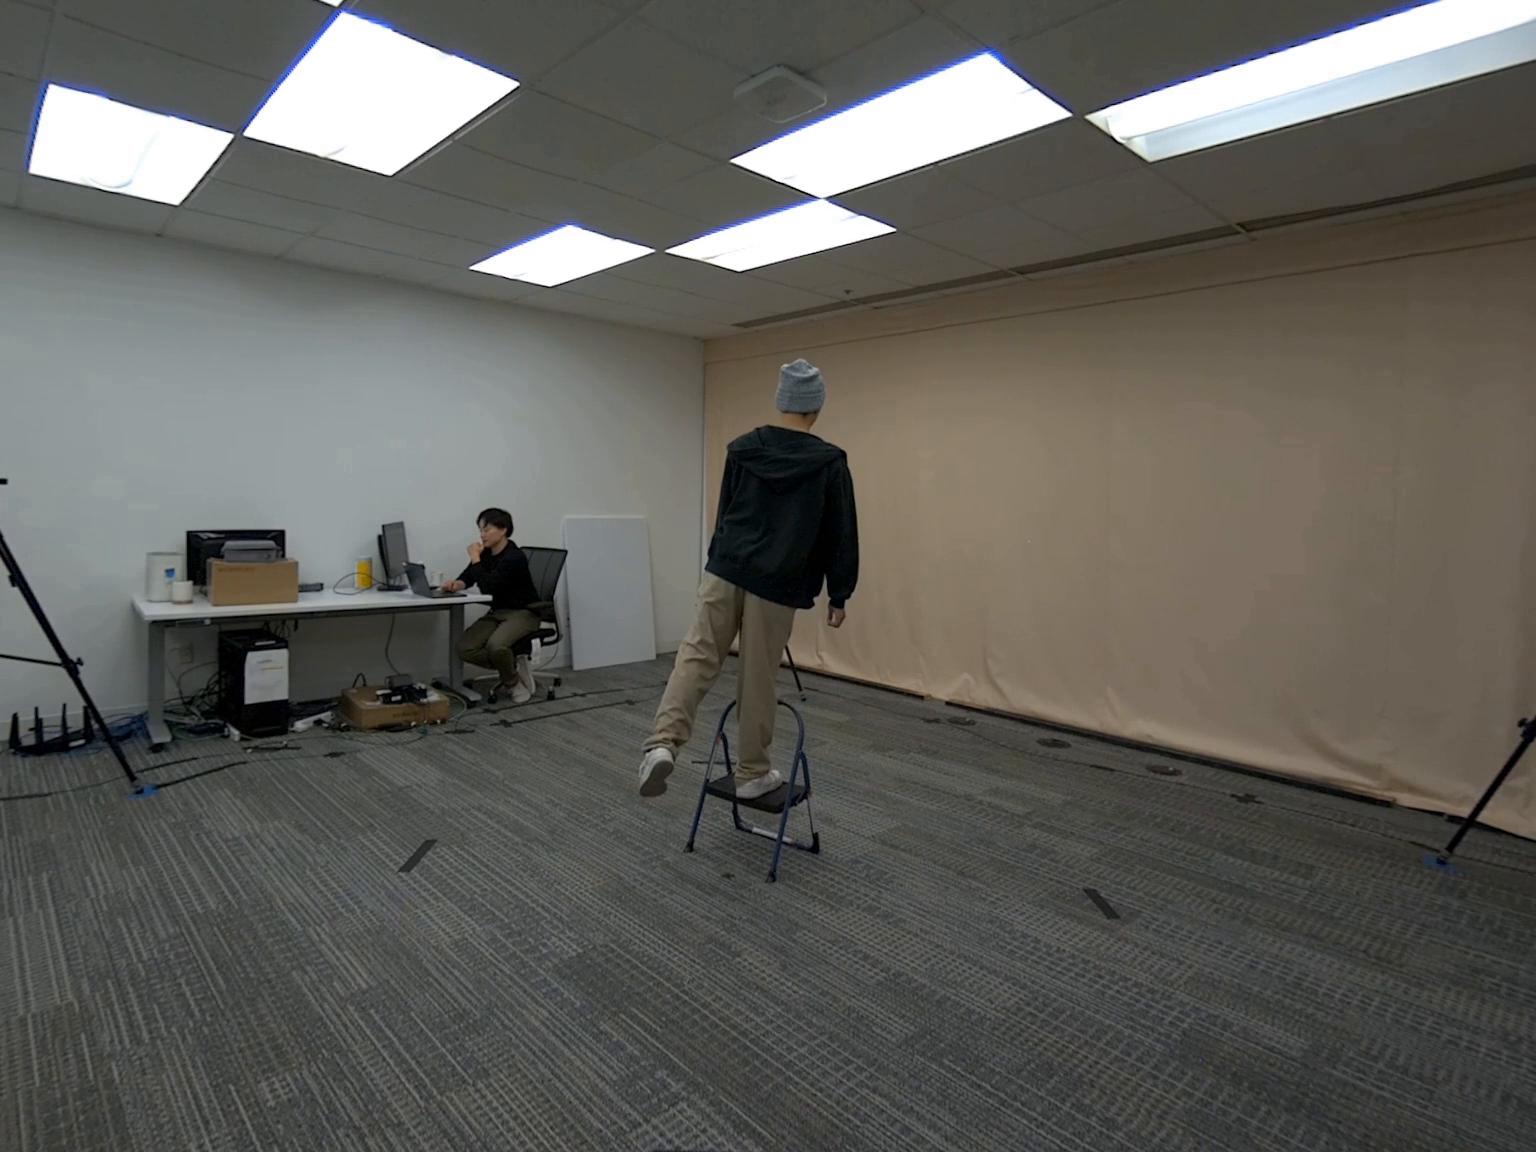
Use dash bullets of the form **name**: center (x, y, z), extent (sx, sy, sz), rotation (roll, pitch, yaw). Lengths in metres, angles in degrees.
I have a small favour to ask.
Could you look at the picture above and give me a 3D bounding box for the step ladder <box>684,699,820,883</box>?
- **step ladder**: center (-0.056, 0.790, 3.308), extent (0.441, 0.605, 0.341), rotation (4, 4, 36)
